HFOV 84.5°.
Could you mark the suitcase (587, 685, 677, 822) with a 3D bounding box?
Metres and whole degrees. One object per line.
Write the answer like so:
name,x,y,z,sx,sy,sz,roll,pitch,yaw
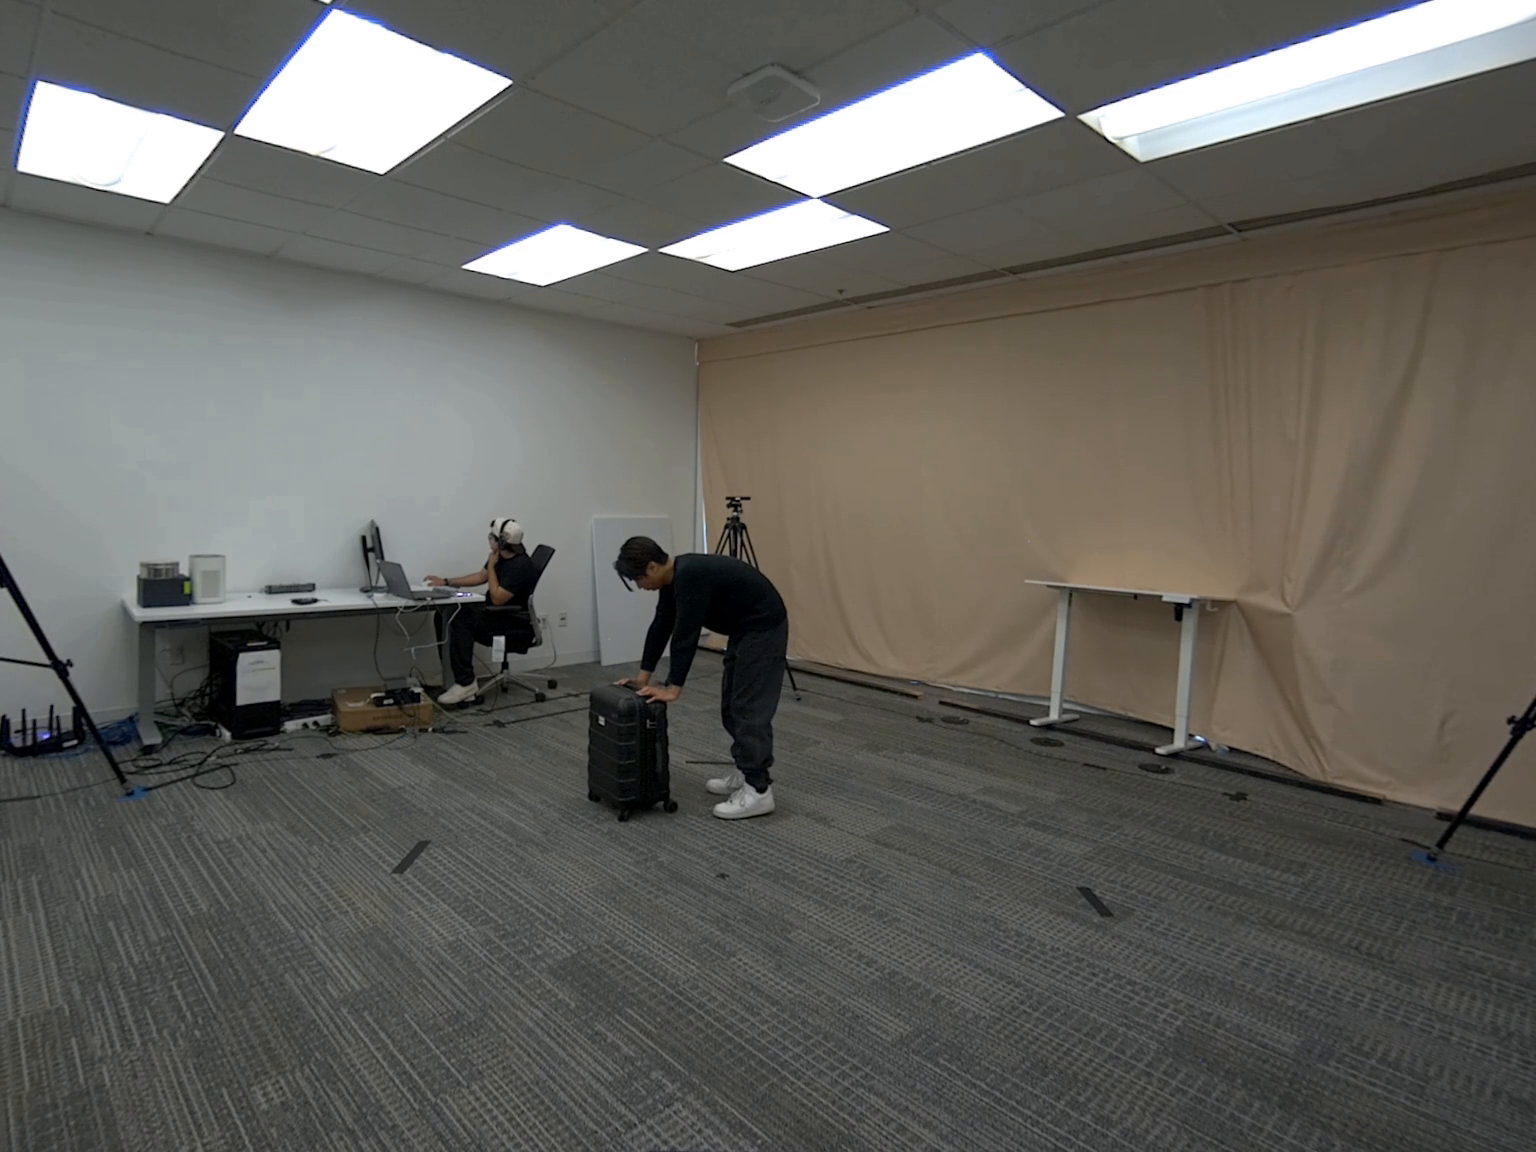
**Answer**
suitcase,-0.633,0.766,3.758,0.243,0.547,0.385,-4,7,-36
